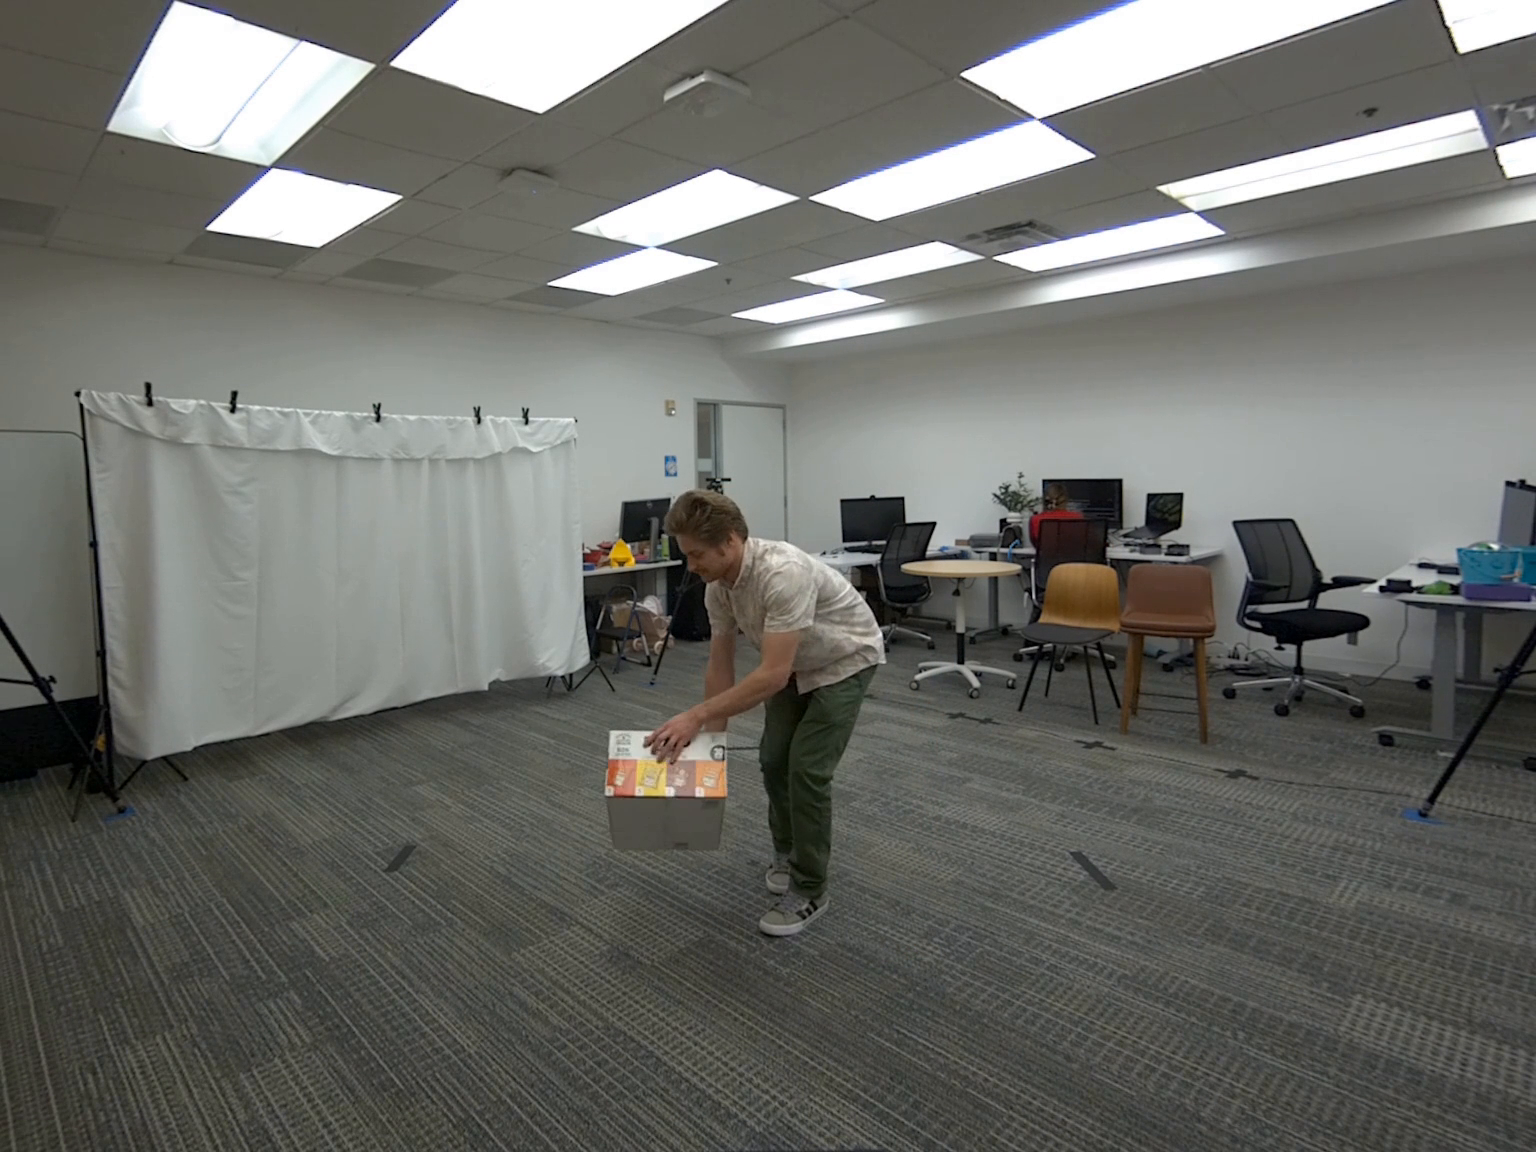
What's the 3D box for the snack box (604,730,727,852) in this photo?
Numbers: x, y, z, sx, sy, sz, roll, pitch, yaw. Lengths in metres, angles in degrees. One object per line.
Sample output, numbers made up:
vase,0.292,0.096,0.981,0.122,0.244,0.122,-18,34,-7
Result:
snack box,-0.300,0.656,2.569,0.339,0.211,0.395,2,-40,-3
